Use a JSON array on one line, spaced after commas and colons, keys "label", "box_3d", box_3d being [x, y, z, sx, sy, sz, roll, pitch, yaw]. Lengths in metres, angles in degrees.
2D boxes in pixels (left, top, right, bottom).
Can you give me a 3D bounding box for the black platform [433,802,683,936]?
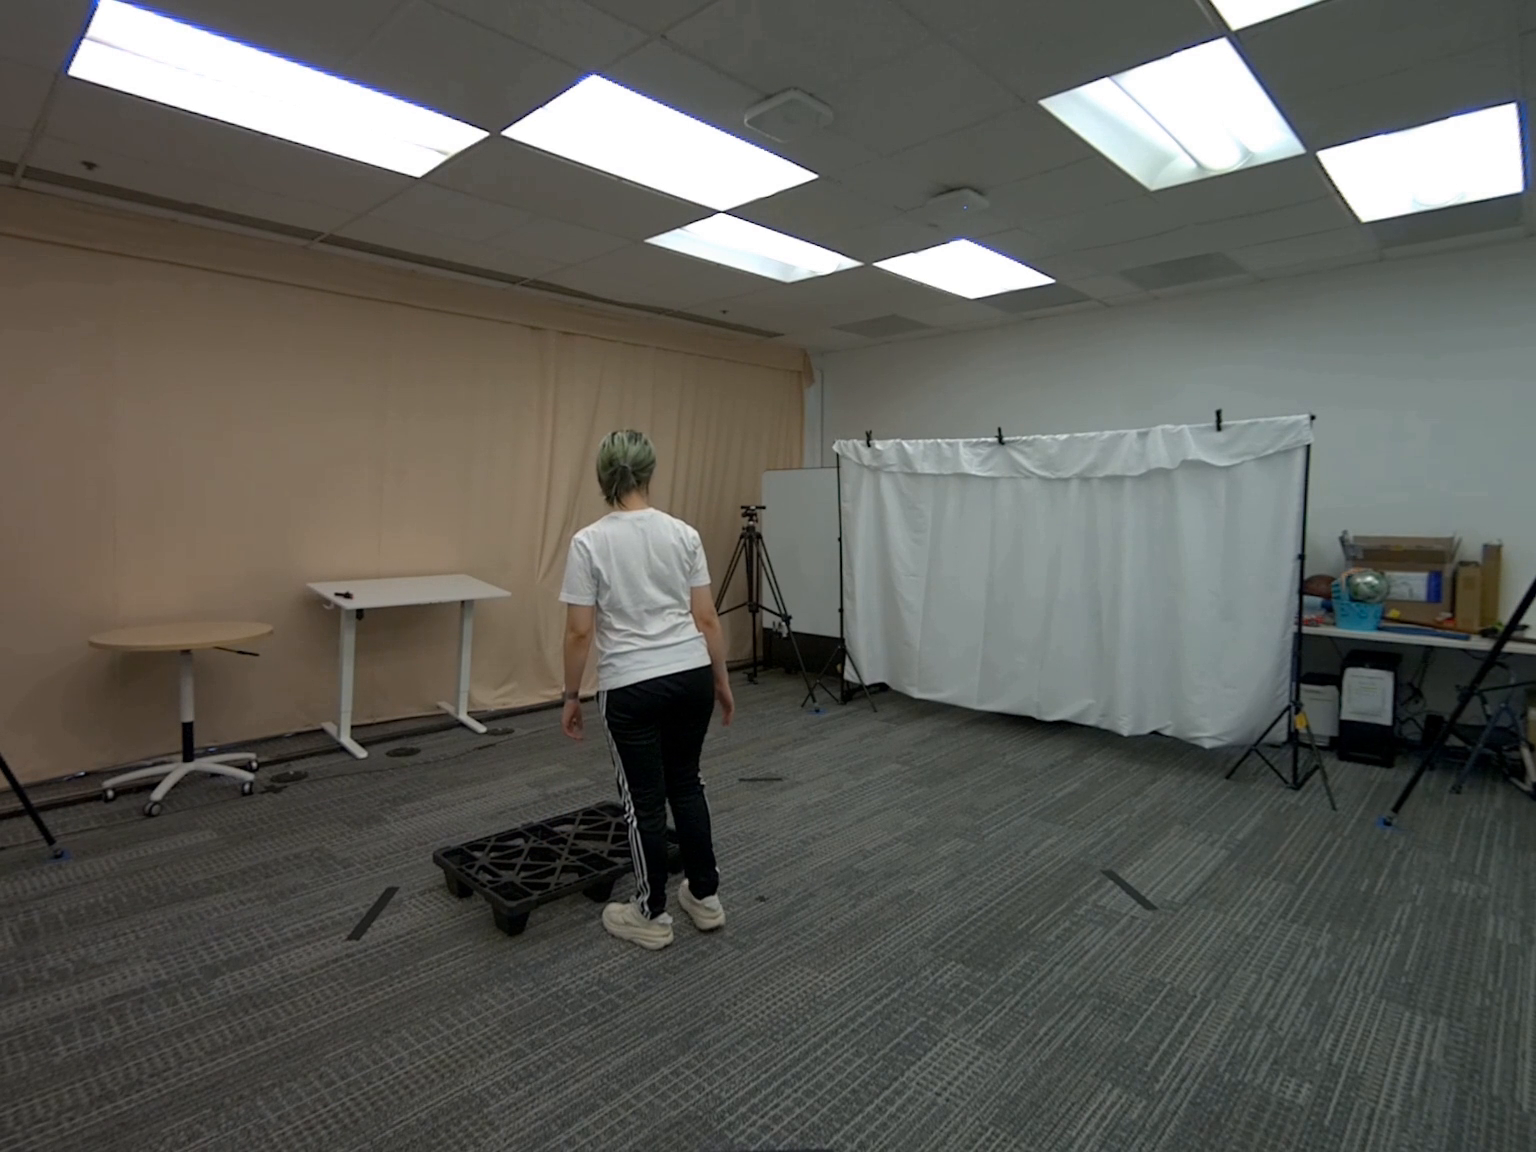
[{"label": "black platform", "box_3d": [-0.739, 1.074, 3.141, 0.781, 0.143, 0.625, -5, 7, -44]}]
